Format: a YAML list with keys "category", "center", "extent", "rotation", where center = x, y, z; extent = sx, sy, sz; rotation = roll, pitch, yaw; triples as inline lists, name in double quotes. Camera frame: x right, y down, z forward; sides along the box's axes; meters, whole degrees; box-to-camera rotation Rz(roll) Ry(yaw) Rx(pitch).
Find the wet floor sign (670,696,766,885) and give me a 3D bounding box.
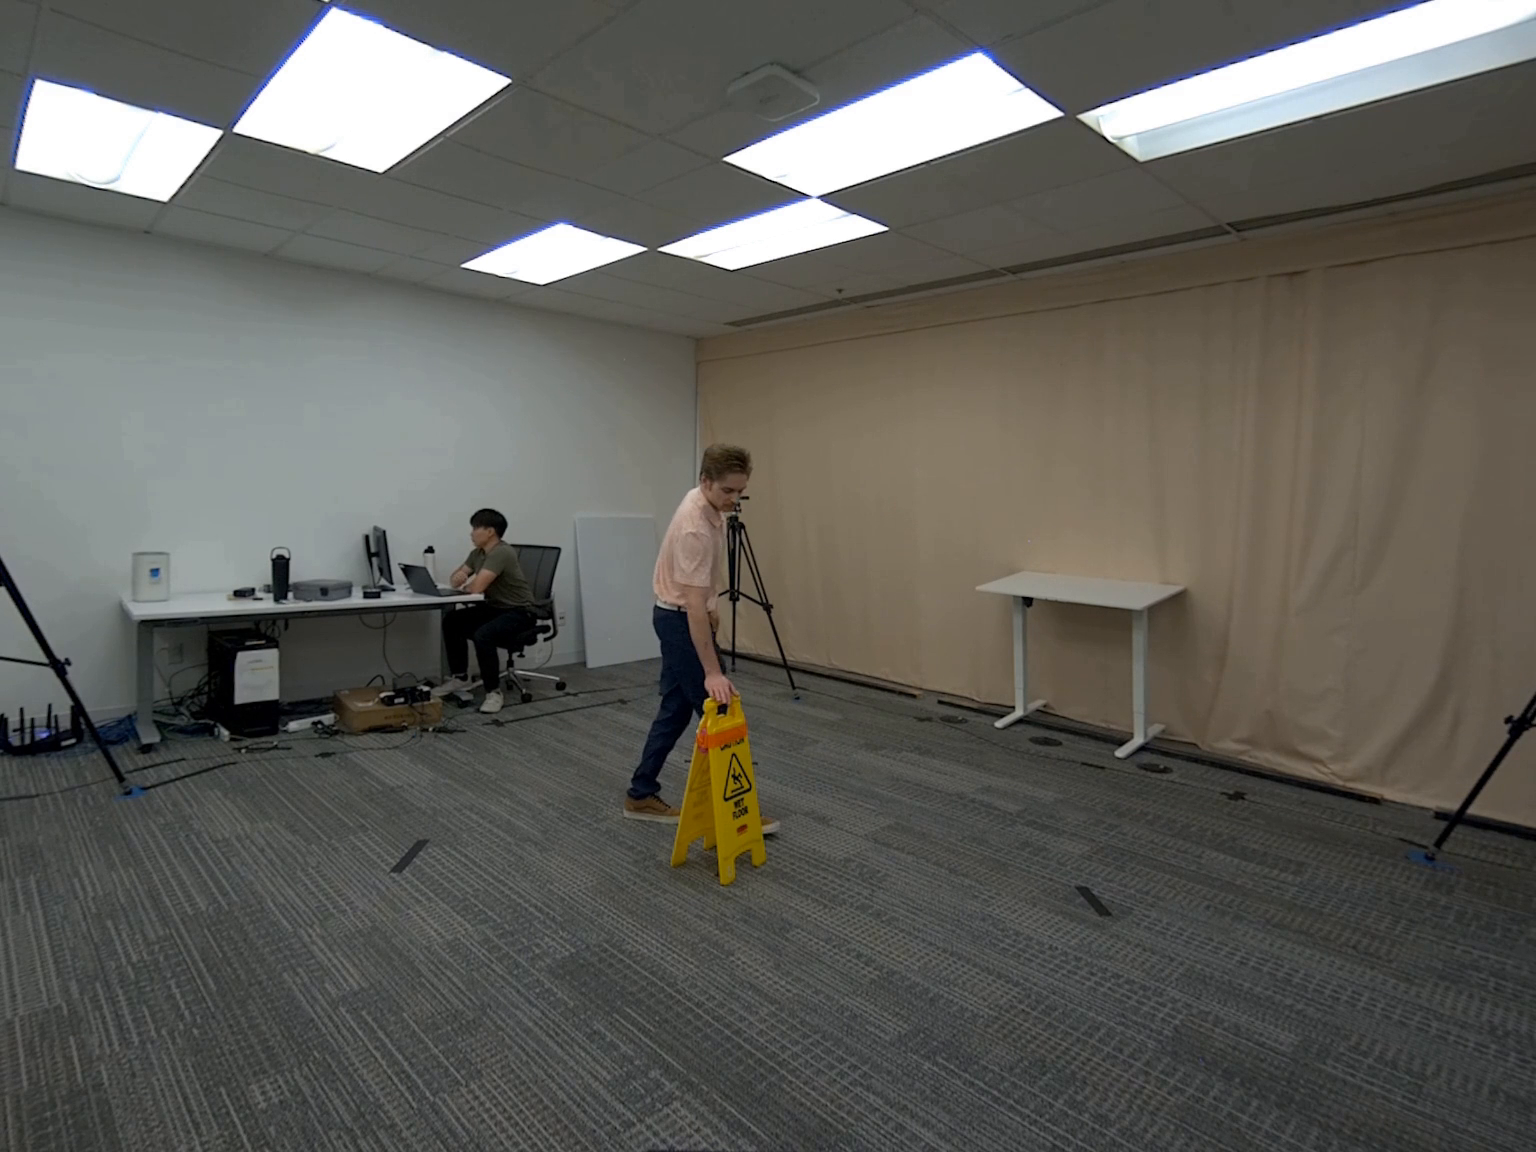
- category: "wet floor sign"
  center: [-0.184, 0.773, 3.176]
  extent: [0.297, 0.644, 0.276]
  rotation: [5, 5, 34]
